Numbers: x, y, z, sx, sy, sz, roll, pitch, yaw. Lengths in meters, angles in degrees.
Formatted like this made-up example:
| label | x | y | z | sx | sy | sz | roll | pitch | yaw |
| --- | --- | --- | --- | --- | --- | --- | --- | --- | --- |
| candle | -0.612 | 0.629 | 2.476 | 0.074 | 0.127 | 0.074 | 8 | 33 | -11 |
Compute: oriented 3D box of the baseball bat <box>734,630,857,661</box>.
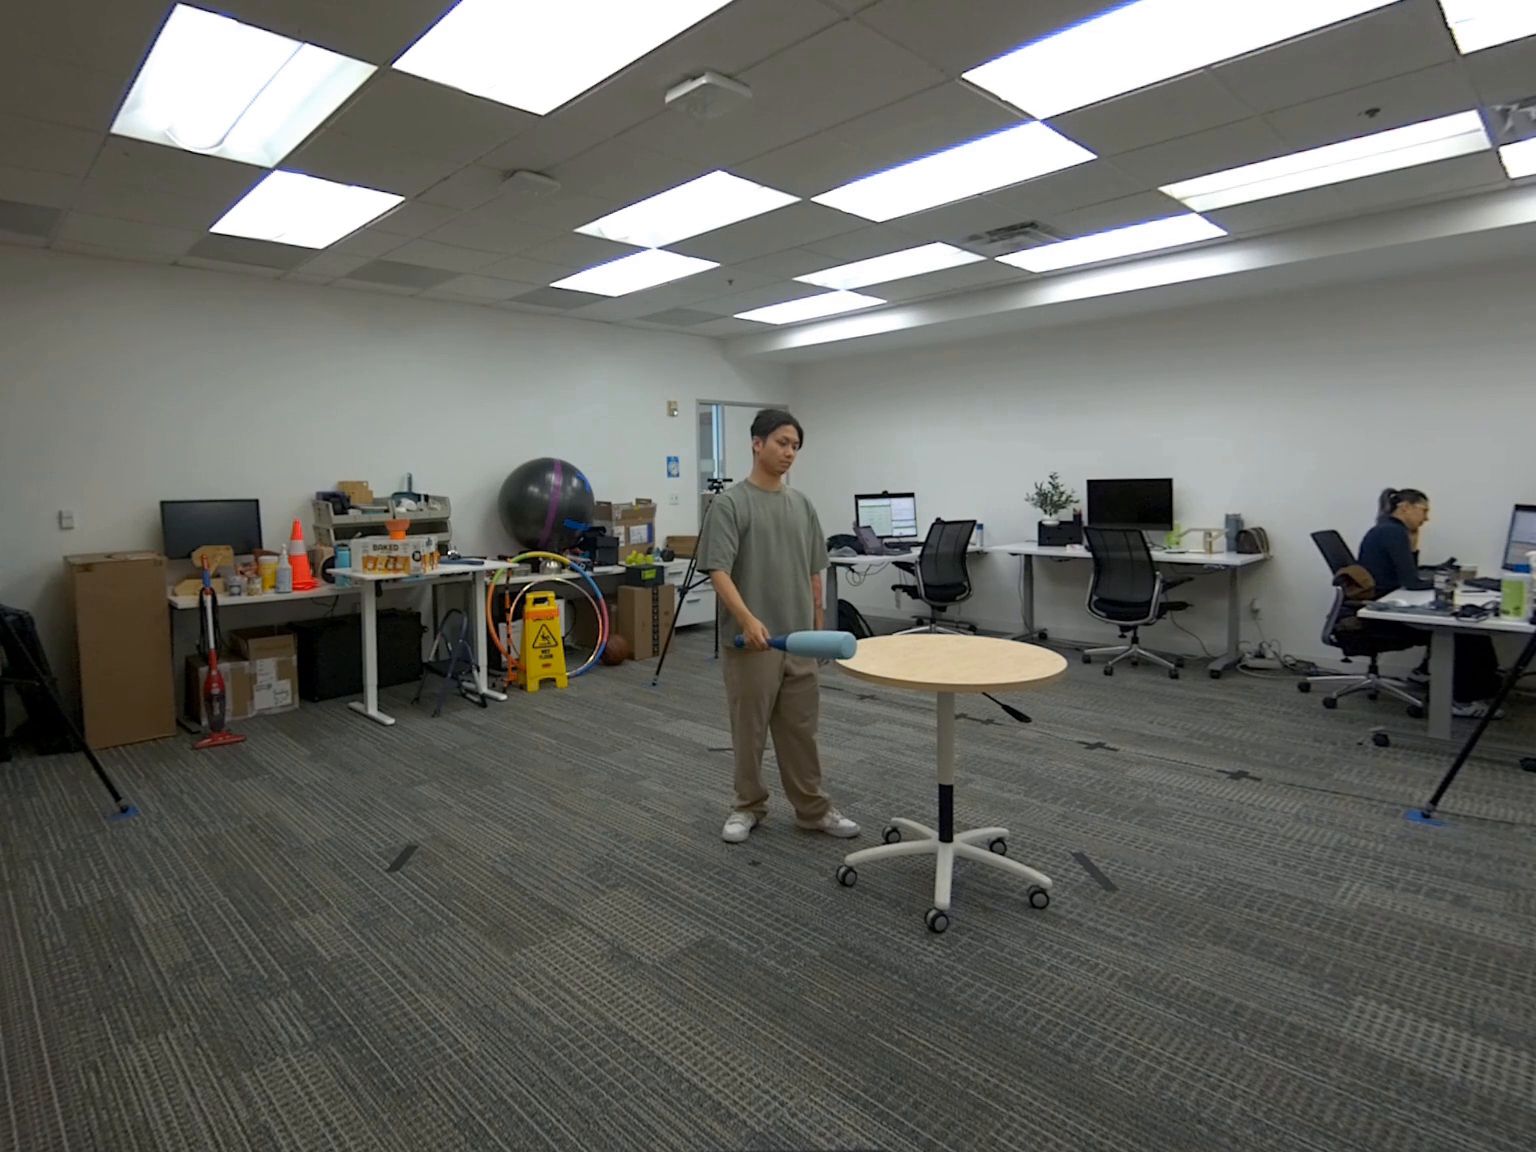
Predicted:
| label | x | y | z | sx | sy | sz | roll | pitch | yaw |
| --- | --- | --- | --- | --- | --- | --- | --- | --- | --- |
| baseball bat | 0.067 | 0.233 | 2.825 | 0.087 | 0.089 | 0.557 | -5 | 1 | -39 |
